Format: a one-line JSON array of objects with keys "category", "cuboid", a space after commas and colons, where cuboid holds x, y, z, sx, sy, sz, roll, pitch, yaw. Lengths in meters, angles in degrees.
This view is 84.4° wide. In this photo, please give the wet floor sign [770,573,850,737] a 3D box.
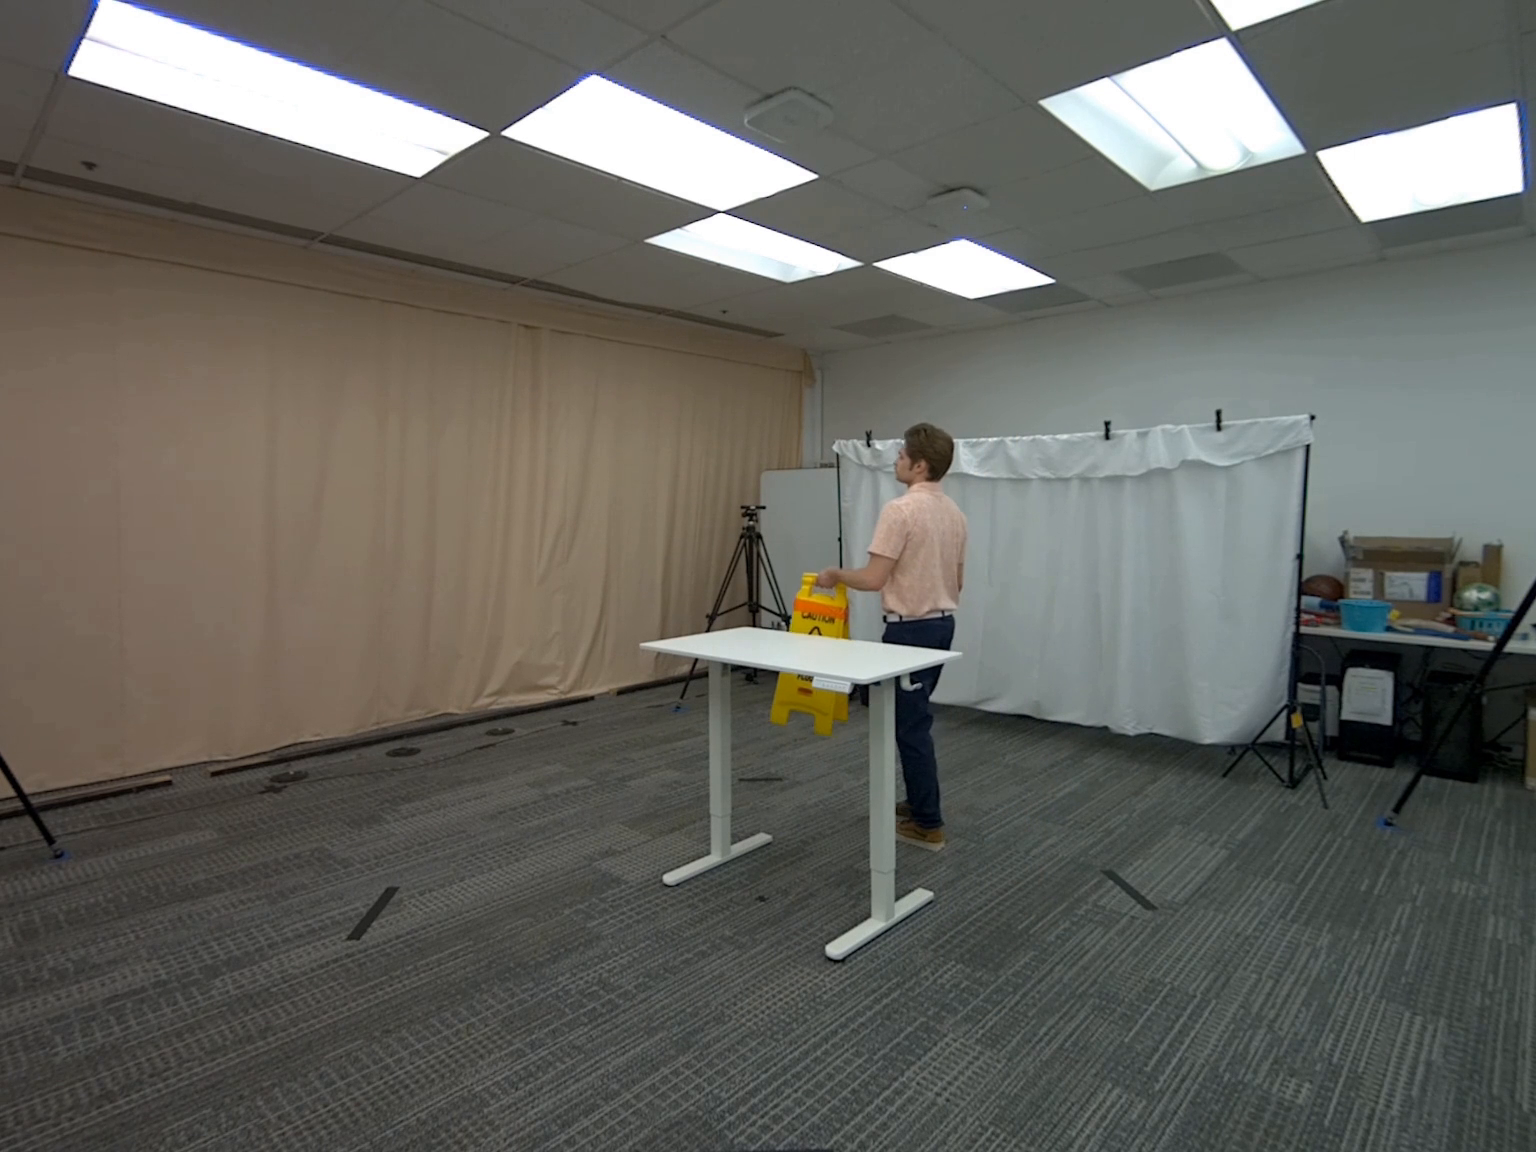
[{"category": "wet floor sign", "cuboid": [0.218, 0.323, 3.668, 0.289, 0.644, 0.284, 9, 7, 22]}]
